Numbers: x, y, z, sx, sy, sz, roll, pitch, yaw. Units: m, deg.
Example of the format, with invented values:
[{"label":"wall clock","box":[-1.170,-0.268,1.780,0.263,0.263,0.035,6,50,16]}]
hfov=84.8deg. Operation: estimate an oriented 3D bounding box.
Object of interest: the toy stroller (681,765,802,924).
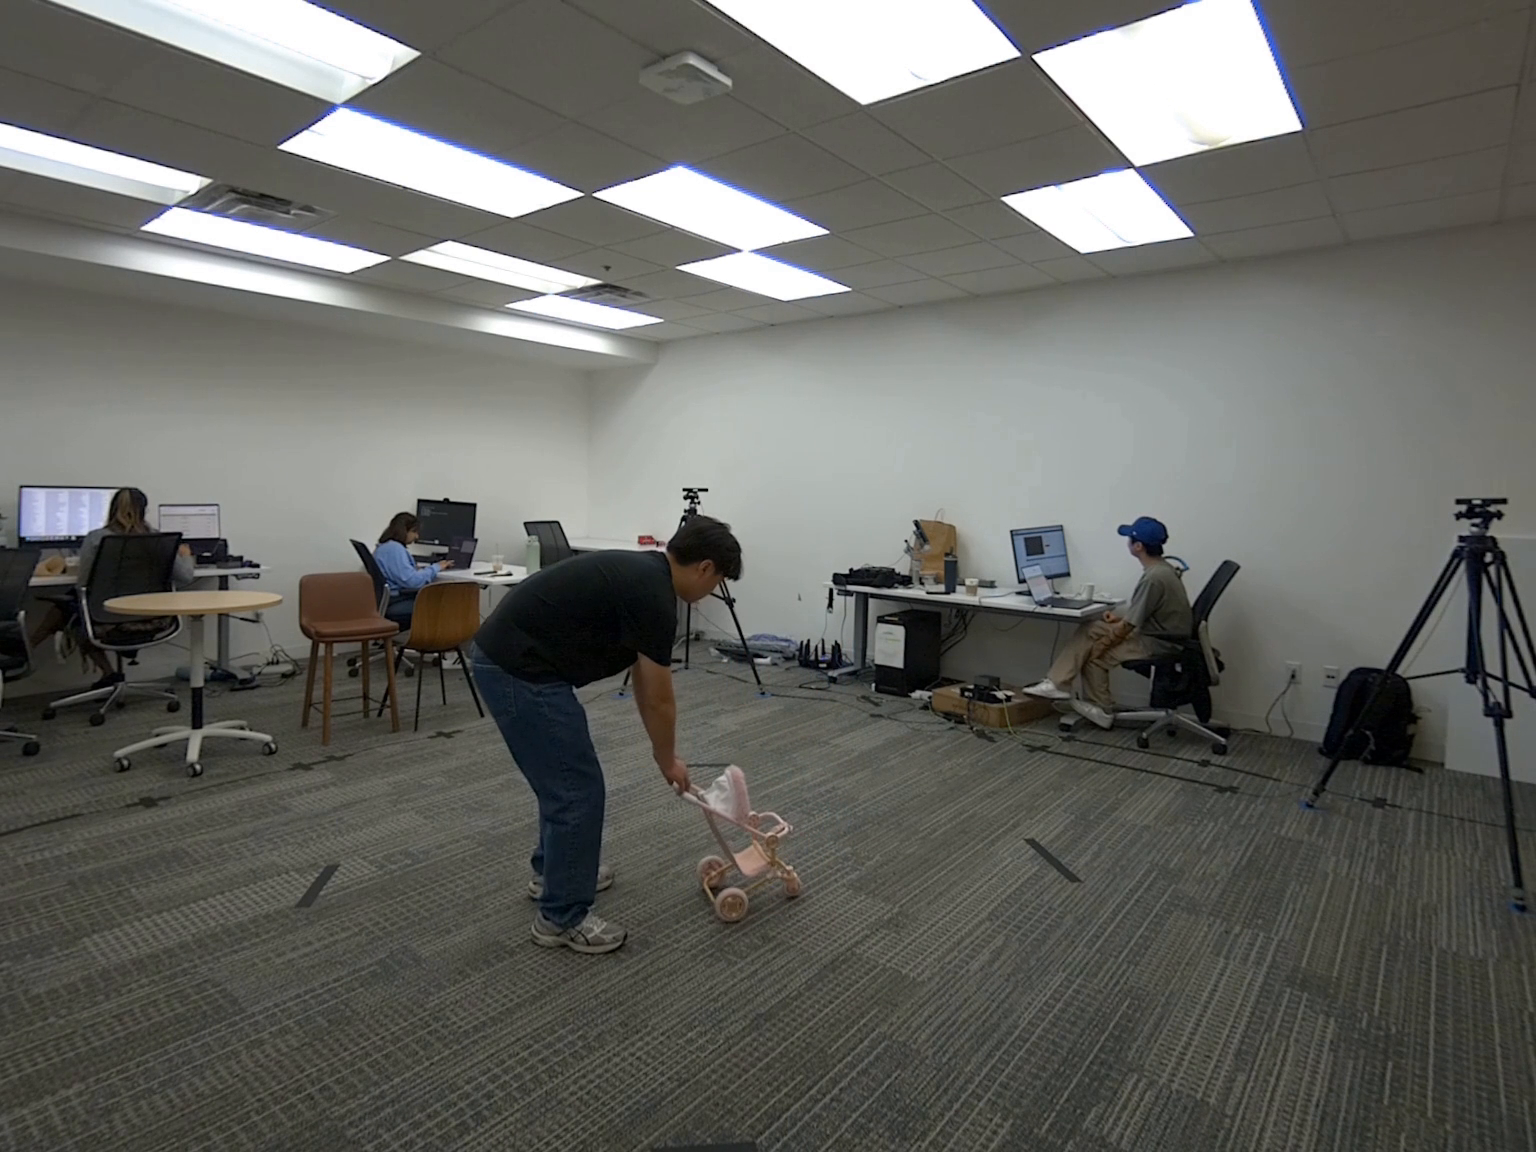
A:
[{"label":"toy stroller","box":[-0.099,0.875,2.854,0.339,0.531,0.286,-16,7,-11]}]
